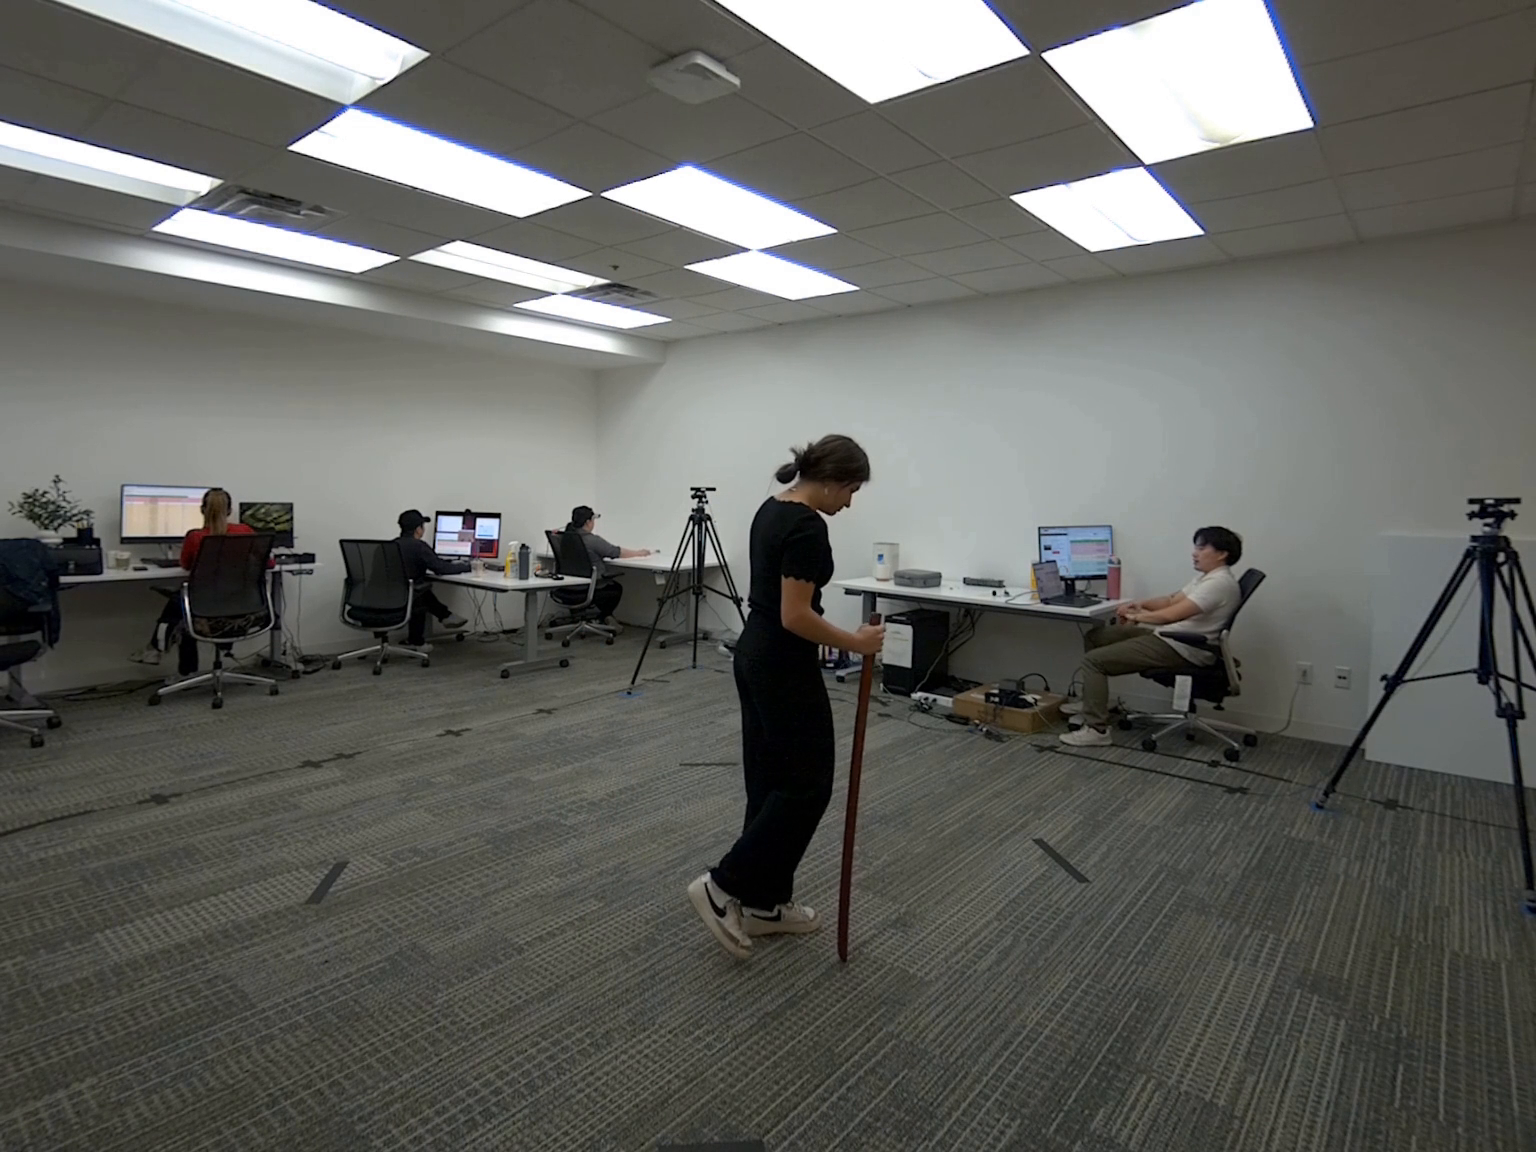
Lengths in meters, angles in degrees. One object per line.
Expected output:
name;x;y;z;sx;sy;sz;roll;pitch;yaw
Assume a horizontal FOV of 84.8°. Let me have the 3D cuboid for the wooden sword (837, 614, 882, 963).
wooden sword;0.259;0.639;2.519;0.053;1.026;0.023;5;-2;42
